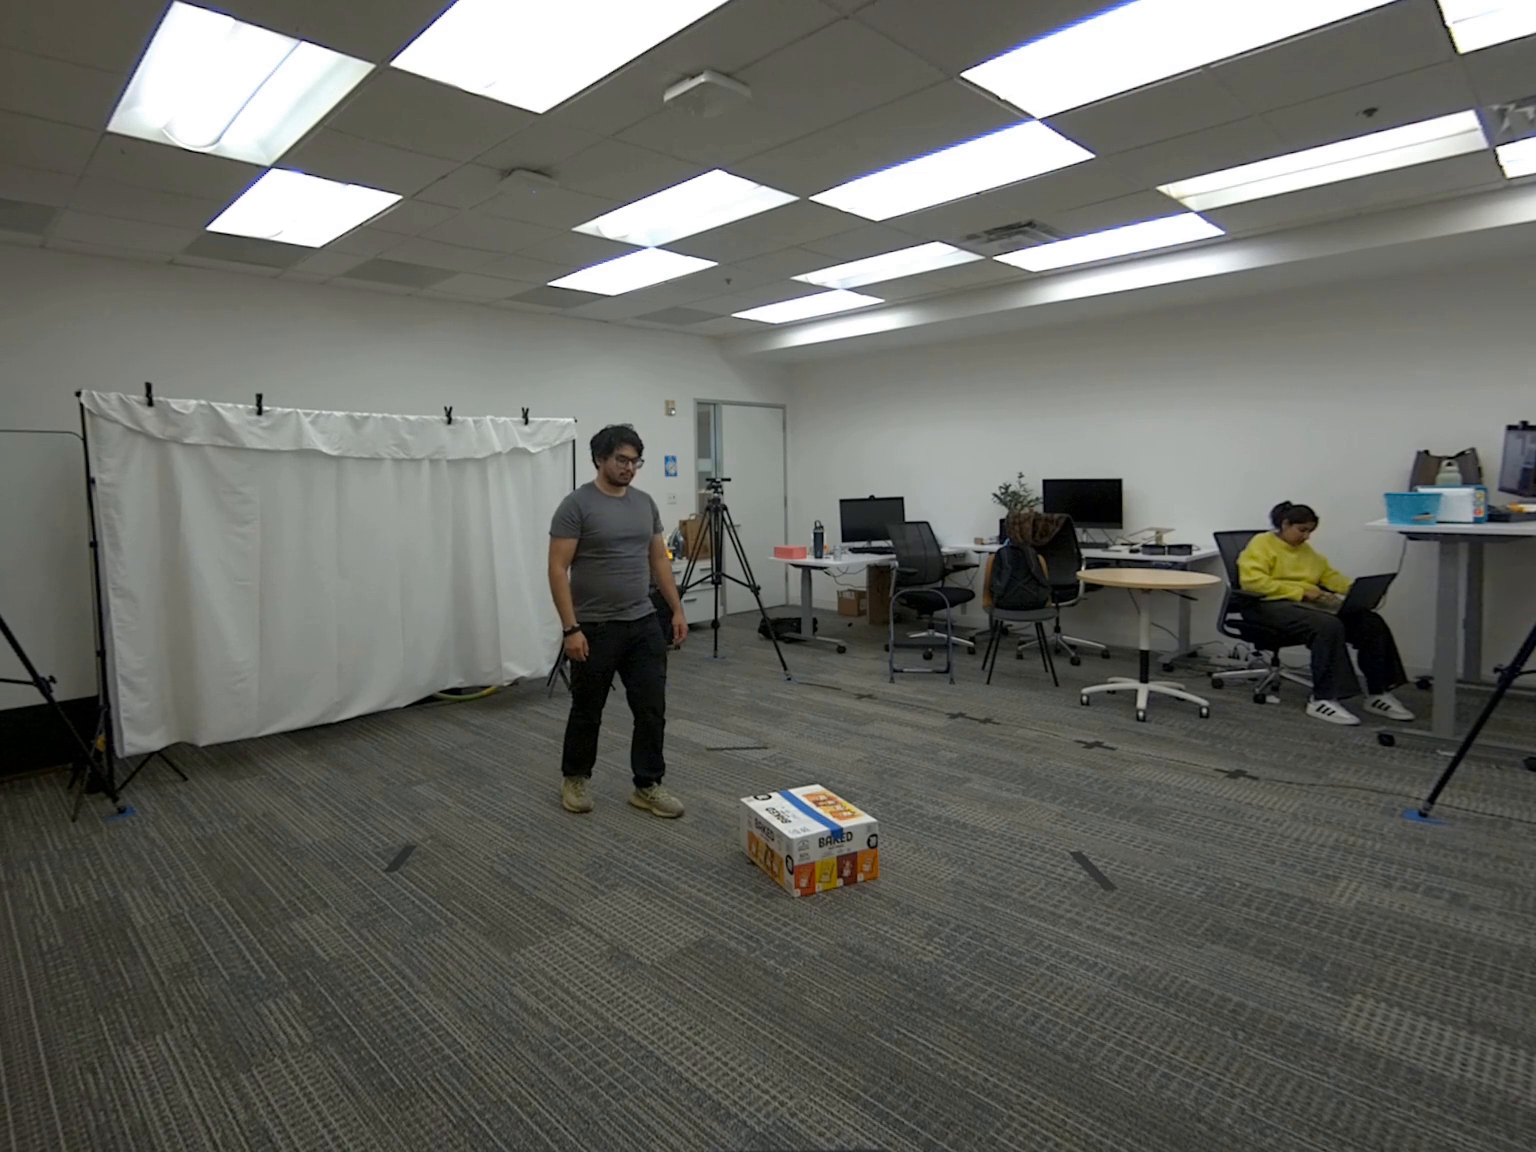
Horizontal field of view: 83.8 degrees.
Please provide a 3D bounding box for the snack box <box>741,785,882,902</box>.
[{"bbox_3d":[0.146,0.942,3.079,0.333,0.205,0.416,-4,6,-26],"label":"snack box"}]
